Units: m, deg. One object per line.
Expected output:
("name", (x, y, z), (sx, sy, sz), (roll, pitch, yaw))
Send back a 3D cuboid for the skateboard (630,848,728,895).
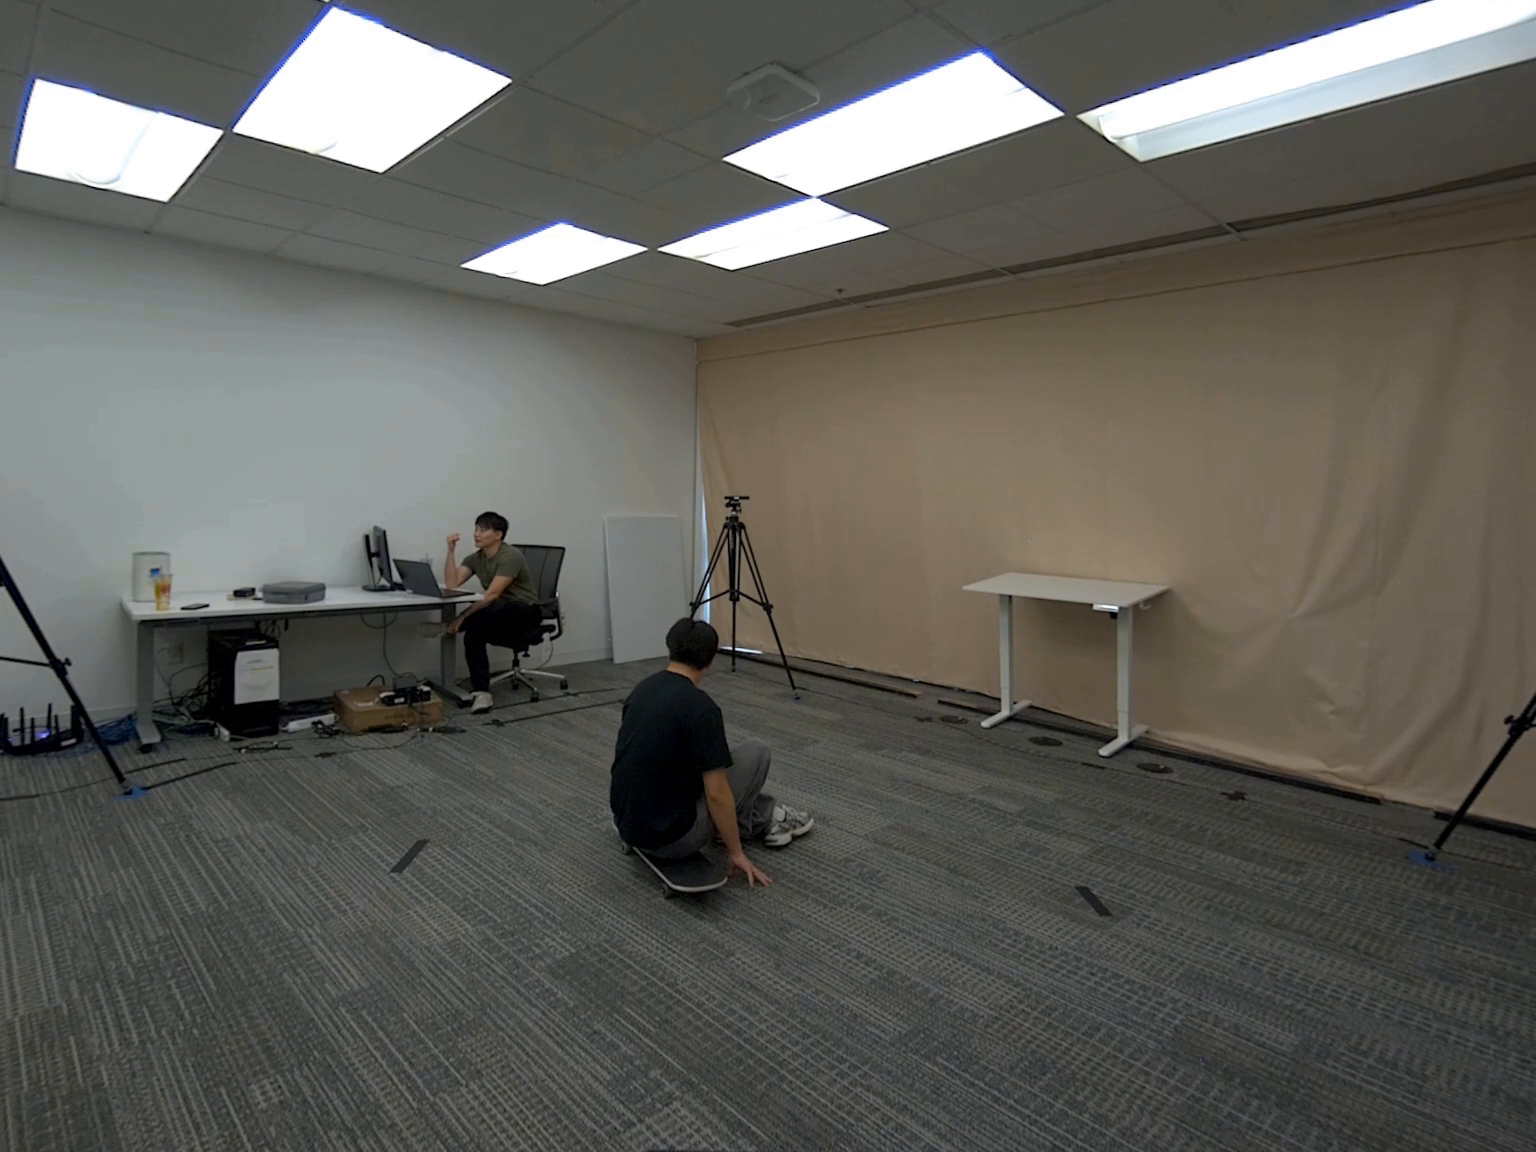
("skateboard", (-0.389, 1.044, 3.134), (0.190, 0.110, 0.803), (-6, 7, -29))
